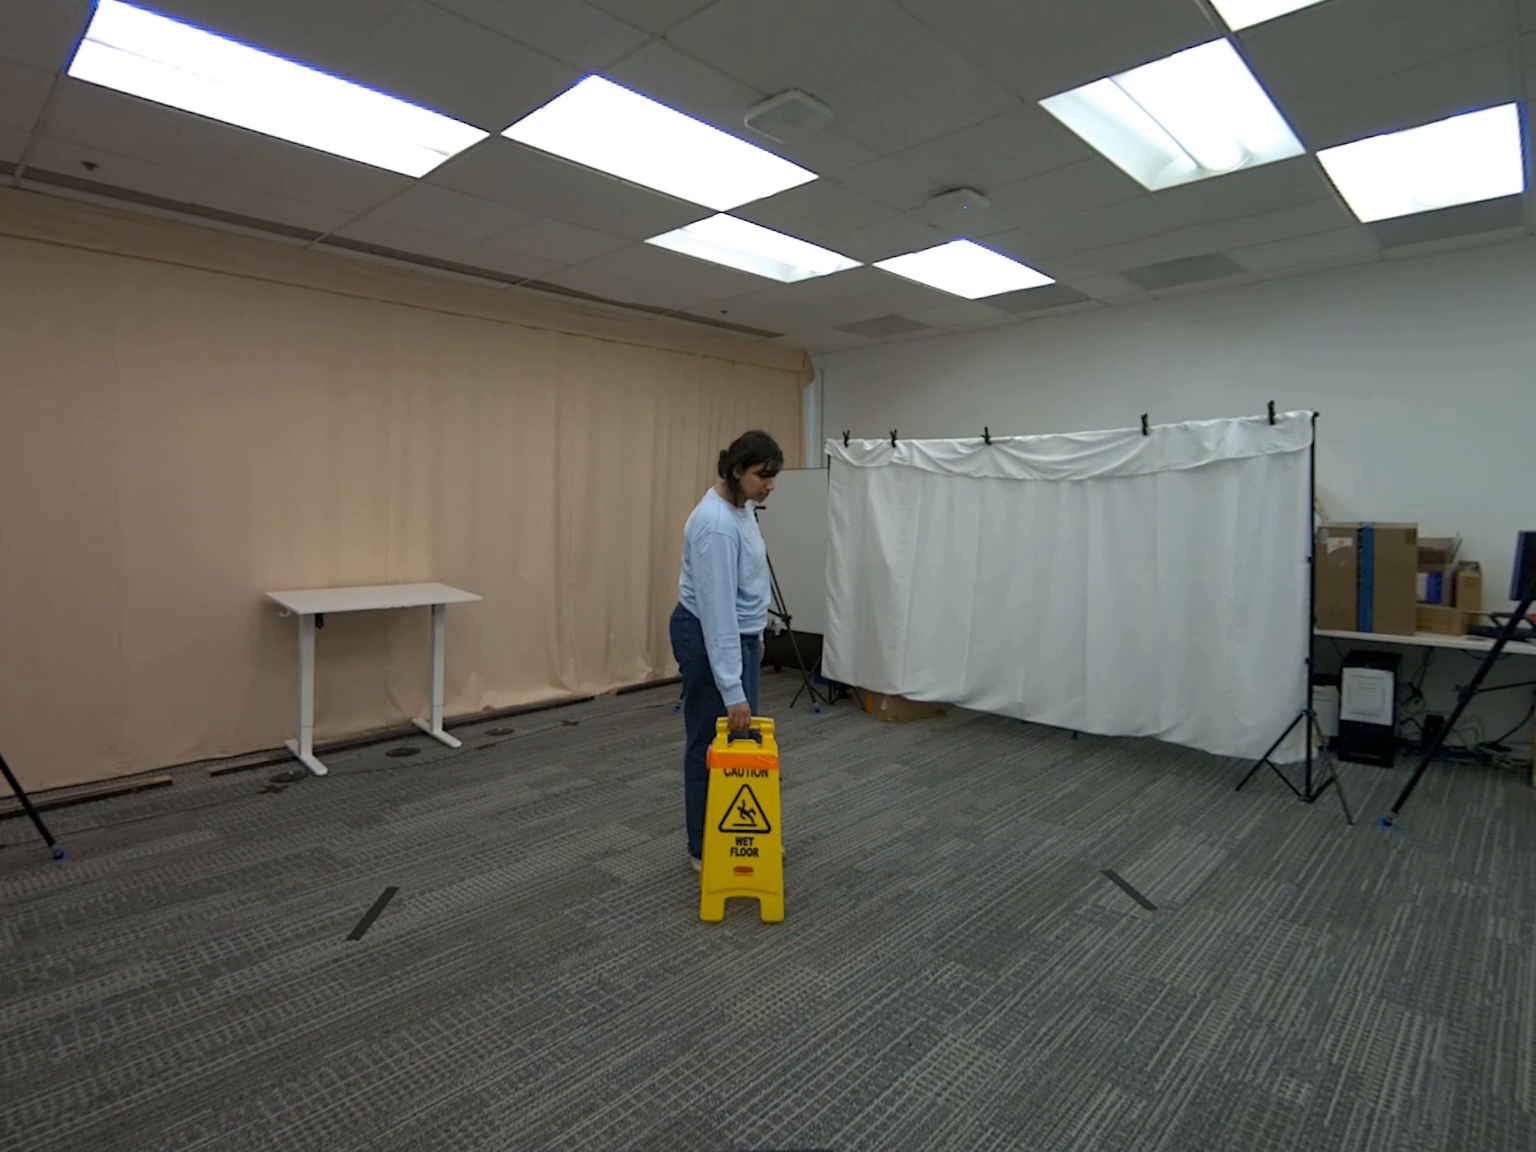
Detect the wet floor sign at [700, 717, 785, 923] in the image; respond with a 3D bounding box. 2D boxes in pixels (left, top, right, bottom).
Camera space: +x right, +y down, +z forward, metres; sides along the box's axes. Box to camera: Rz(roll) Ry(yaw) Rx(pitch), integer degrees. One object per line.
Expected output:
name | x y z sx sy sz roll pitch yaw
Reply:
wet floor sign | -0.084 0.814 2.898 0.281 0.644 0.291 0 4 -3
